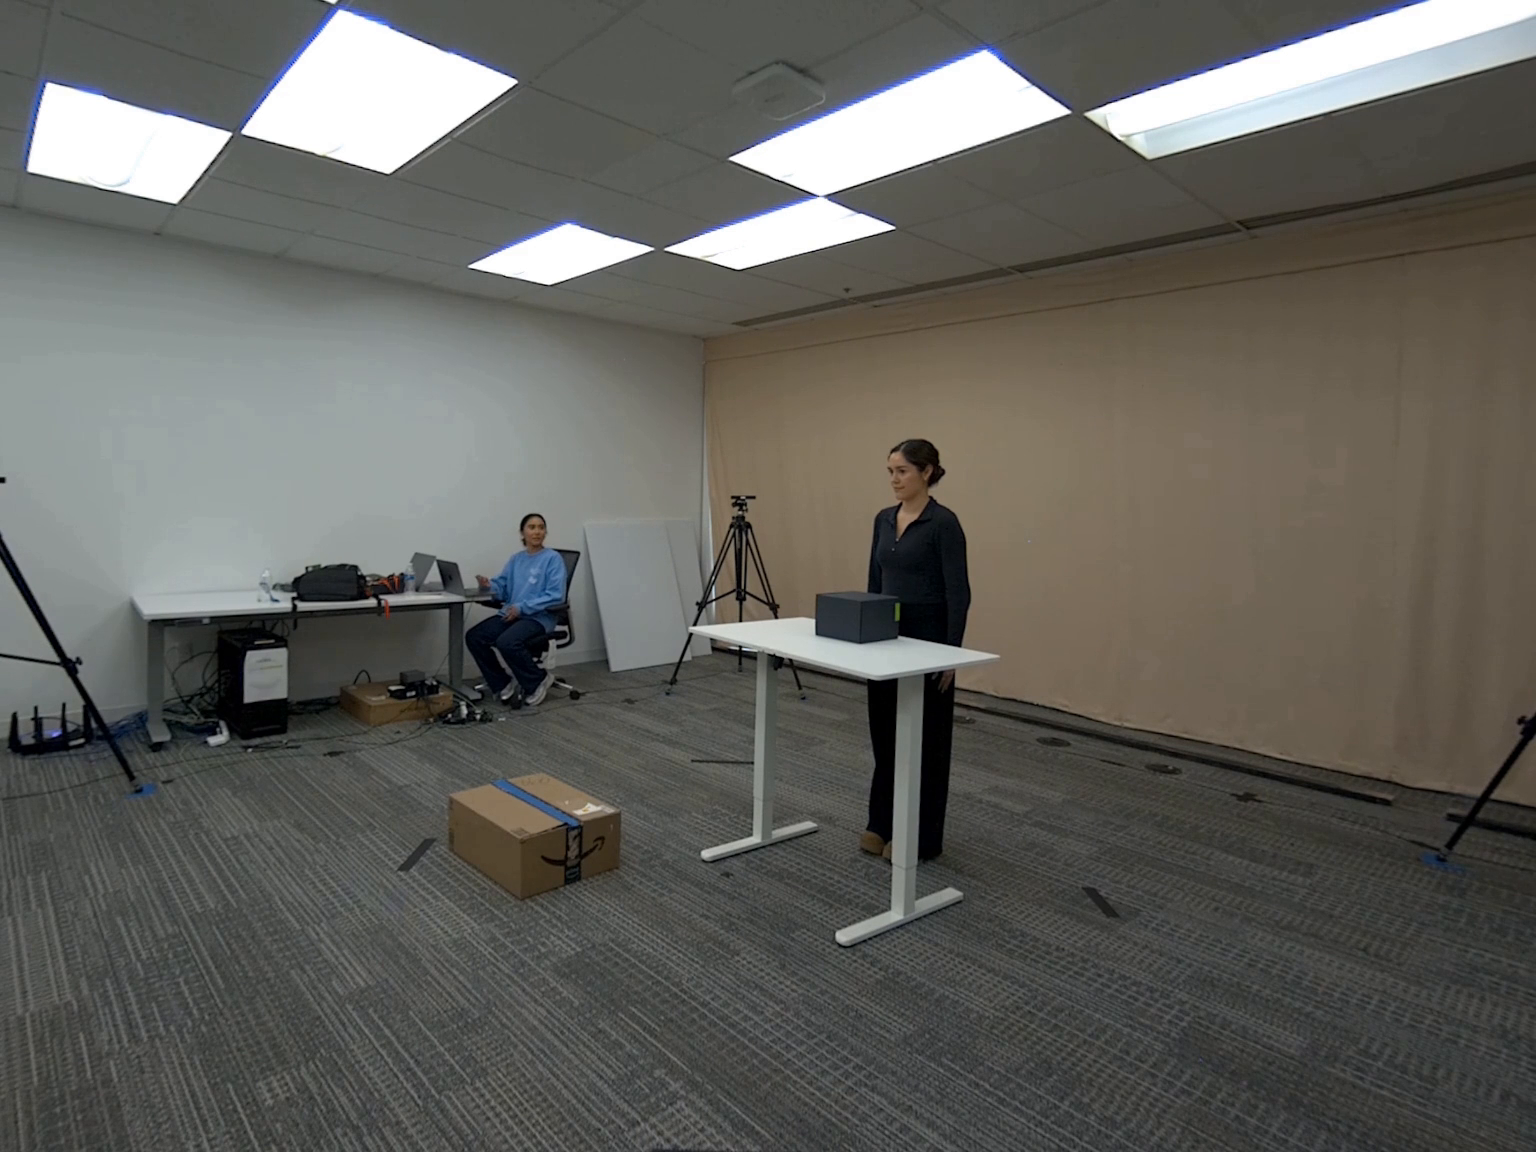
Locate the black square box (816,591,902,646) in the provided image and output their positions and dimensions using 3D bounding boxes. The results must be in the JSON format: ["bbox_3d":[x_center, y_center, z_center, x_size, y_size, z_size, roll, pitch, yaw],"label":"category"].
[{"bbox_3d":[0.336,0.151,3.128,0.212,0.155,0.234,-3,6,-42],"label":"black square box"}]
